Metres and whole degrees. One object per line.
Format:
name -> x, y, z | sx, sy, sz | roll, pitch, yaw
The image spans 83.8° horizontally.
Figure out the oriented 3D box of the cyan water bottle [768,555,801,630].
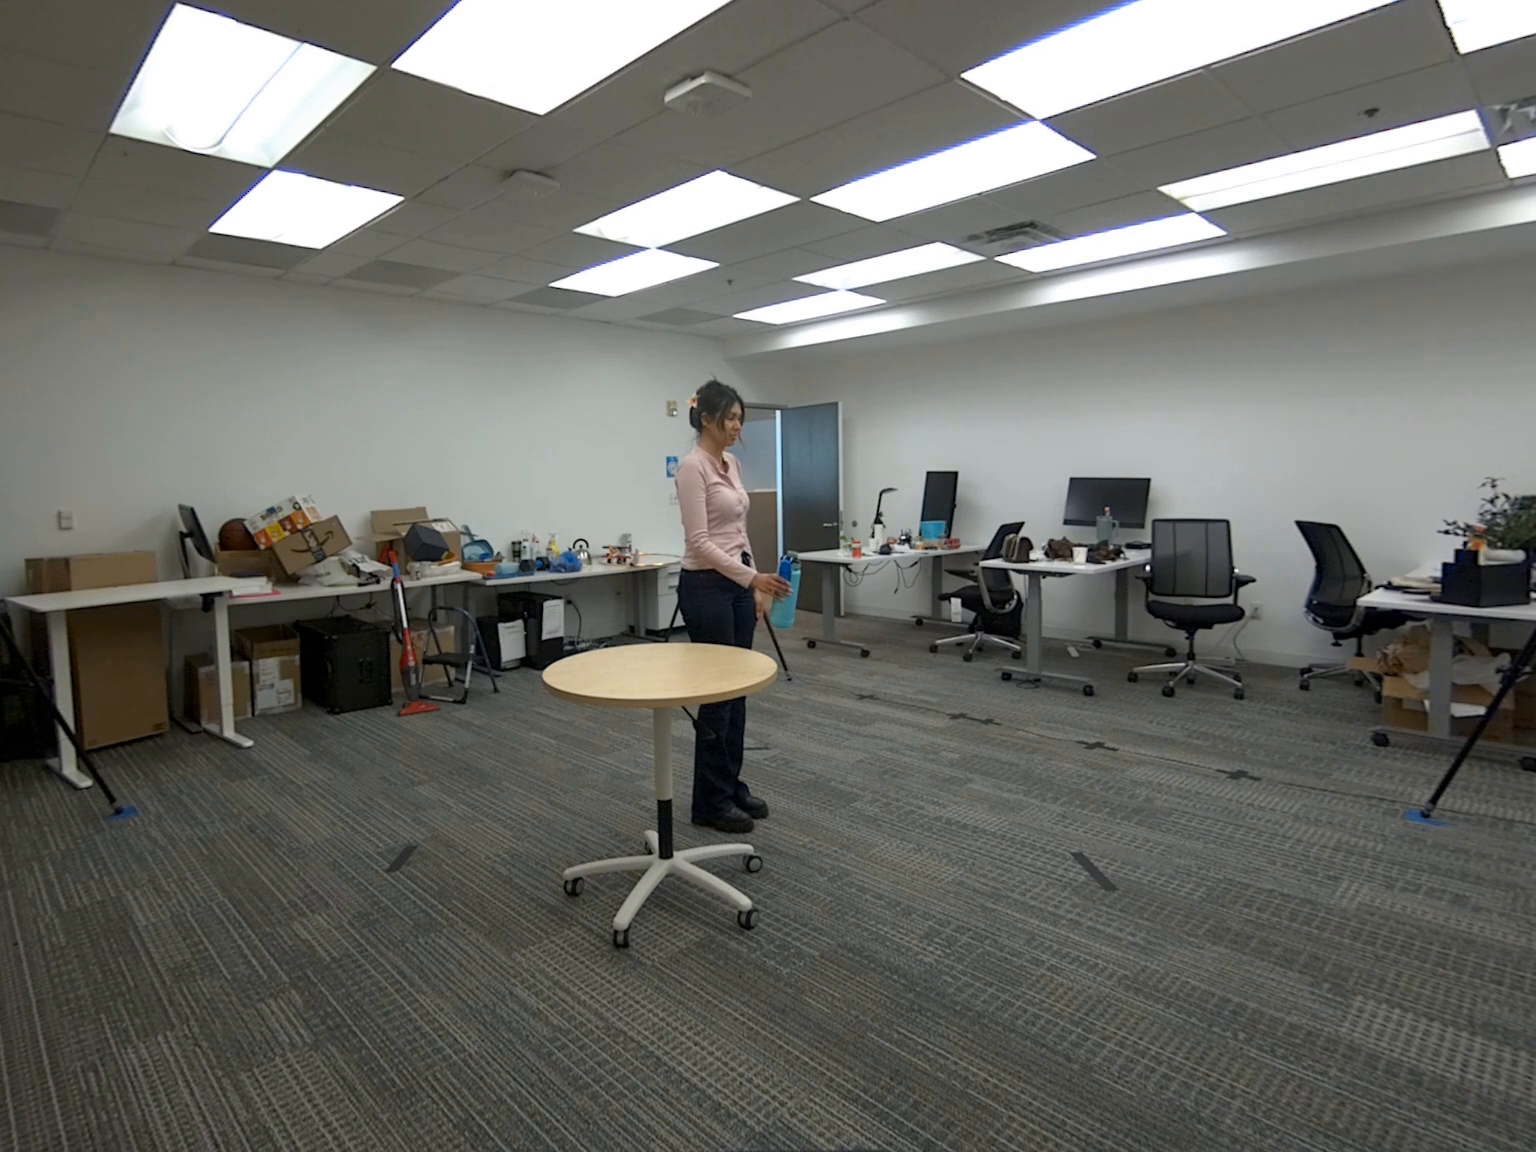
cyan water bottle -> 0.070, 0.050, 3.192 | 0.092, 0.280, 0.094 | 5, 16, -3
